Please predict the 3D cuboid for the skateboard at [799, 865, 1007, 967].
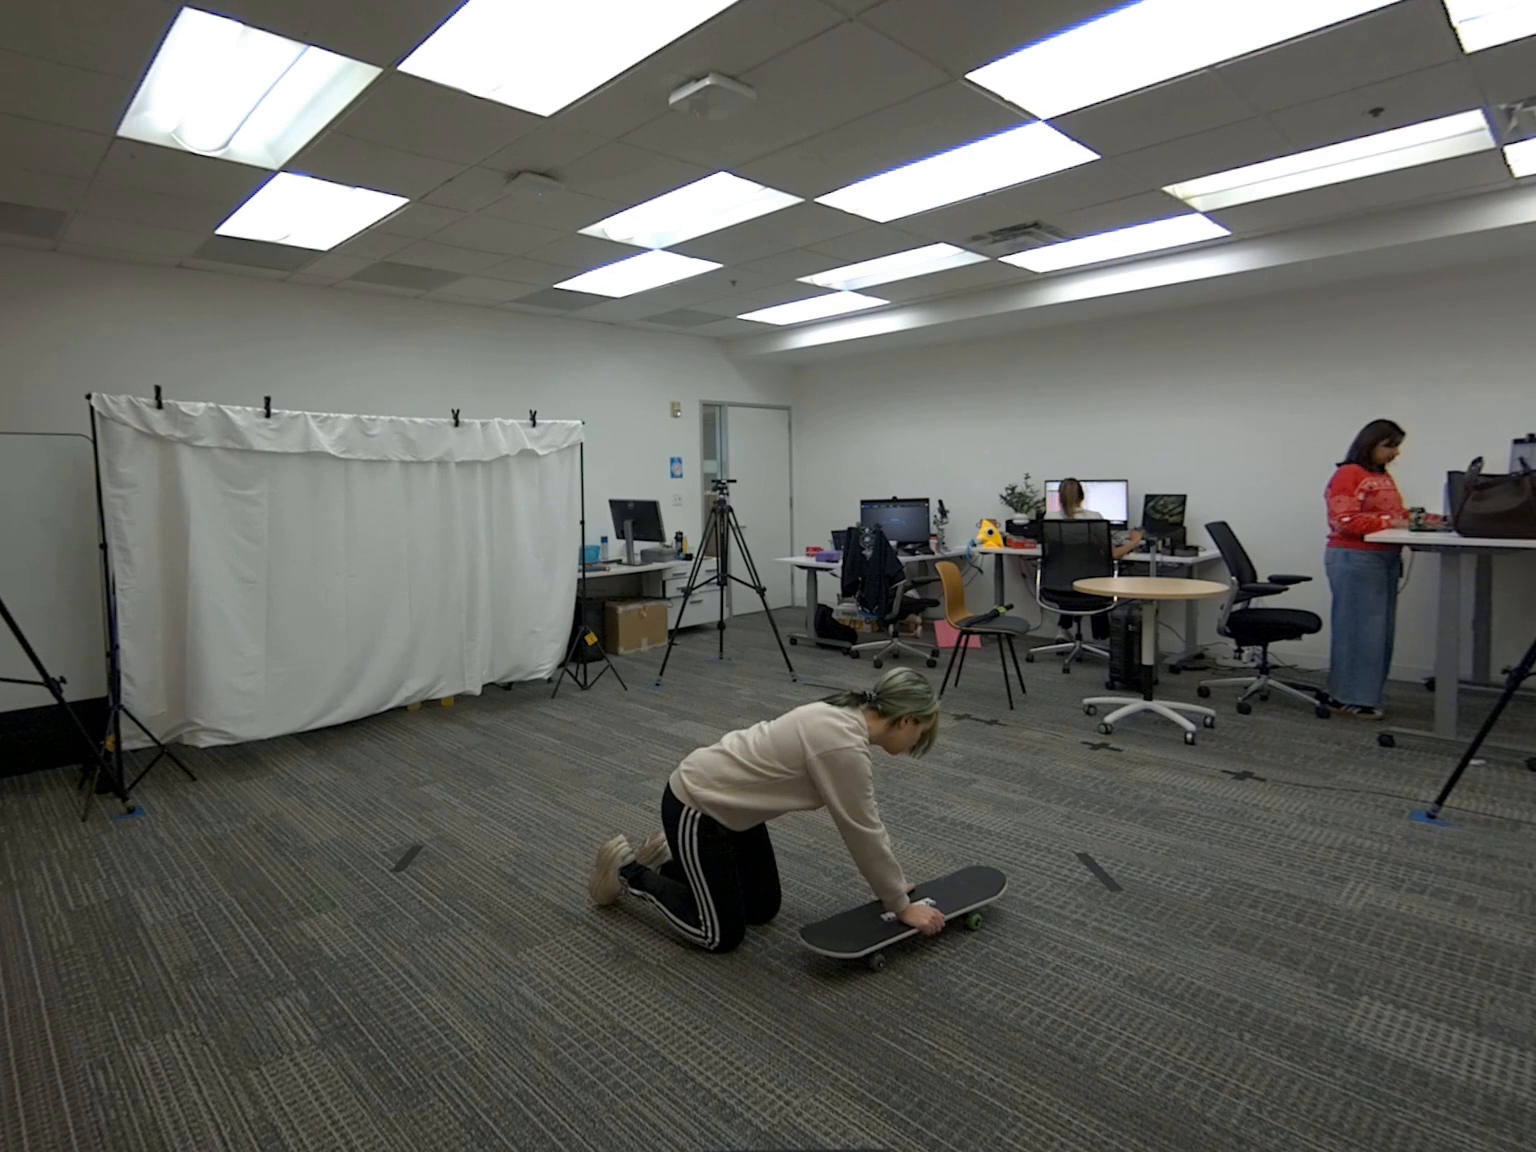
[{"bbox_3d":[0.426,1.032,2.591,0.766,0.110,0.199,-5,7,-32],"label":"skateboard"}]
